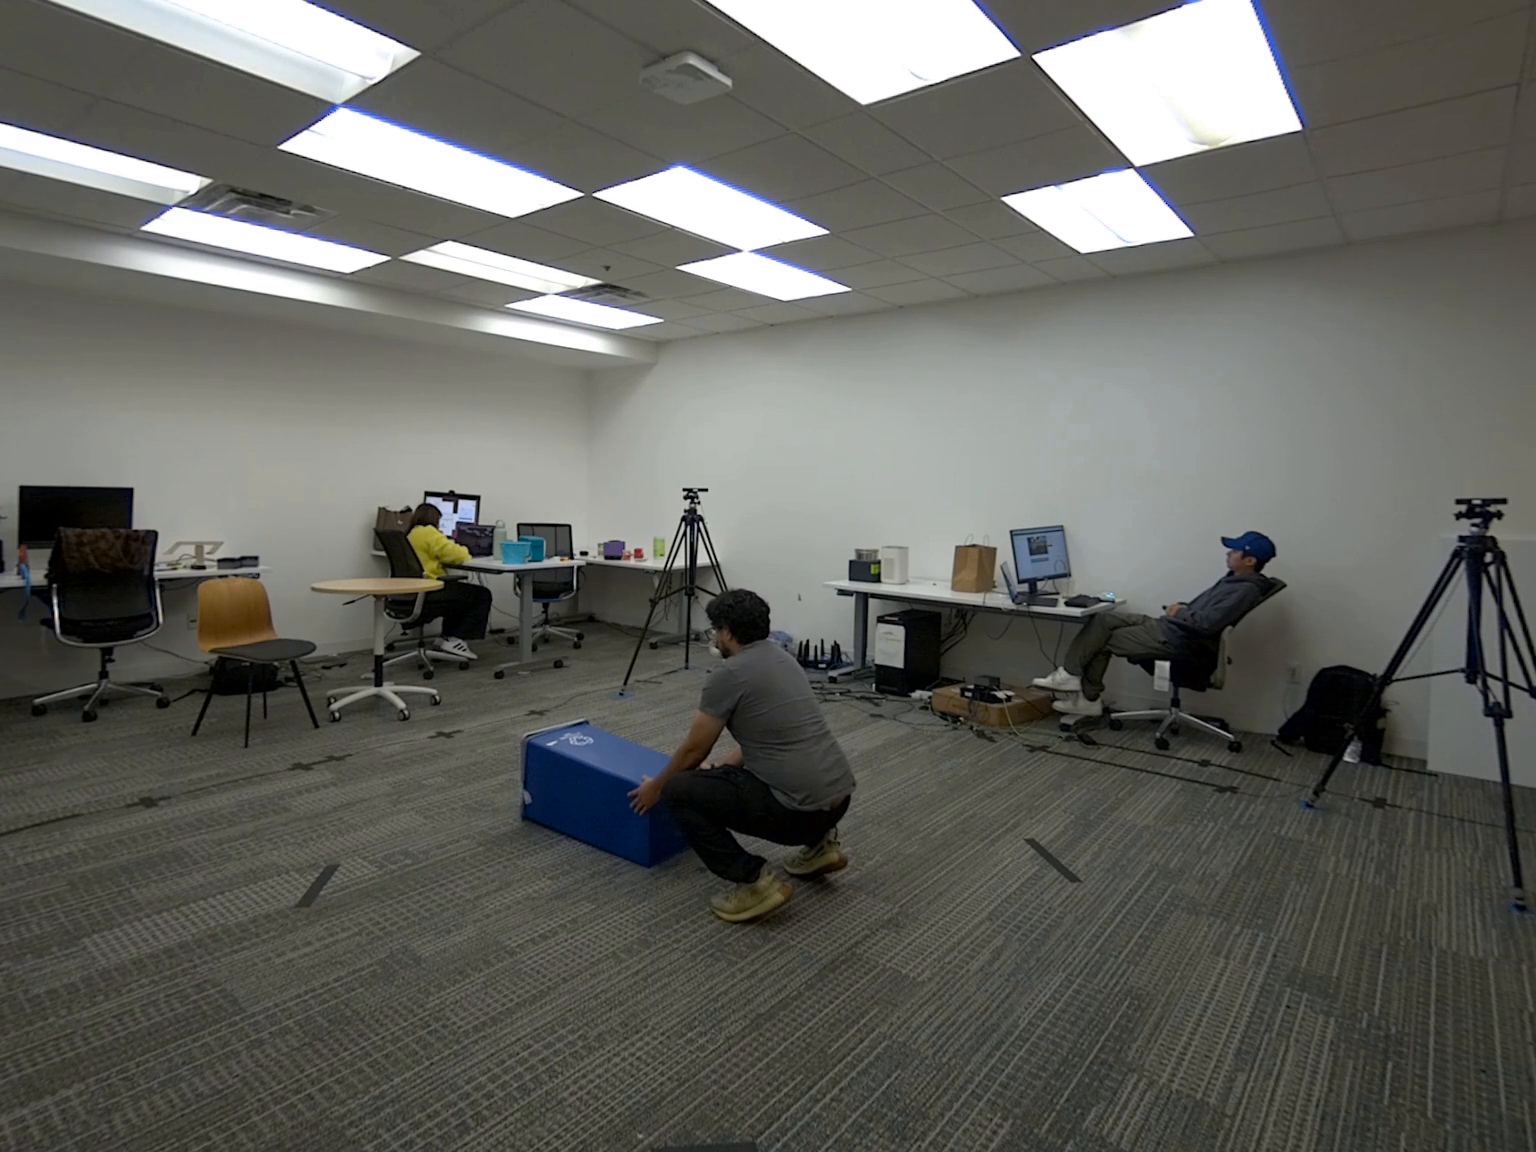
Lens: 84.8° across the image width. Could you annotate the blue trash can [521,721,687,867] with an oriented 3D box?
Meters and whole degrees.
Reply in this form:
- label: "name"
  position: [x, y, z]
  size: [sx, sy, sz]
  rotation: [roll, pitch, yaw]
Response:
- label: "blue trash can"
  position: [-0.644, 0.864, 3.434]
  size: [0.738, 0.376, 0.363]
  rotation: [8, 7, 37]
